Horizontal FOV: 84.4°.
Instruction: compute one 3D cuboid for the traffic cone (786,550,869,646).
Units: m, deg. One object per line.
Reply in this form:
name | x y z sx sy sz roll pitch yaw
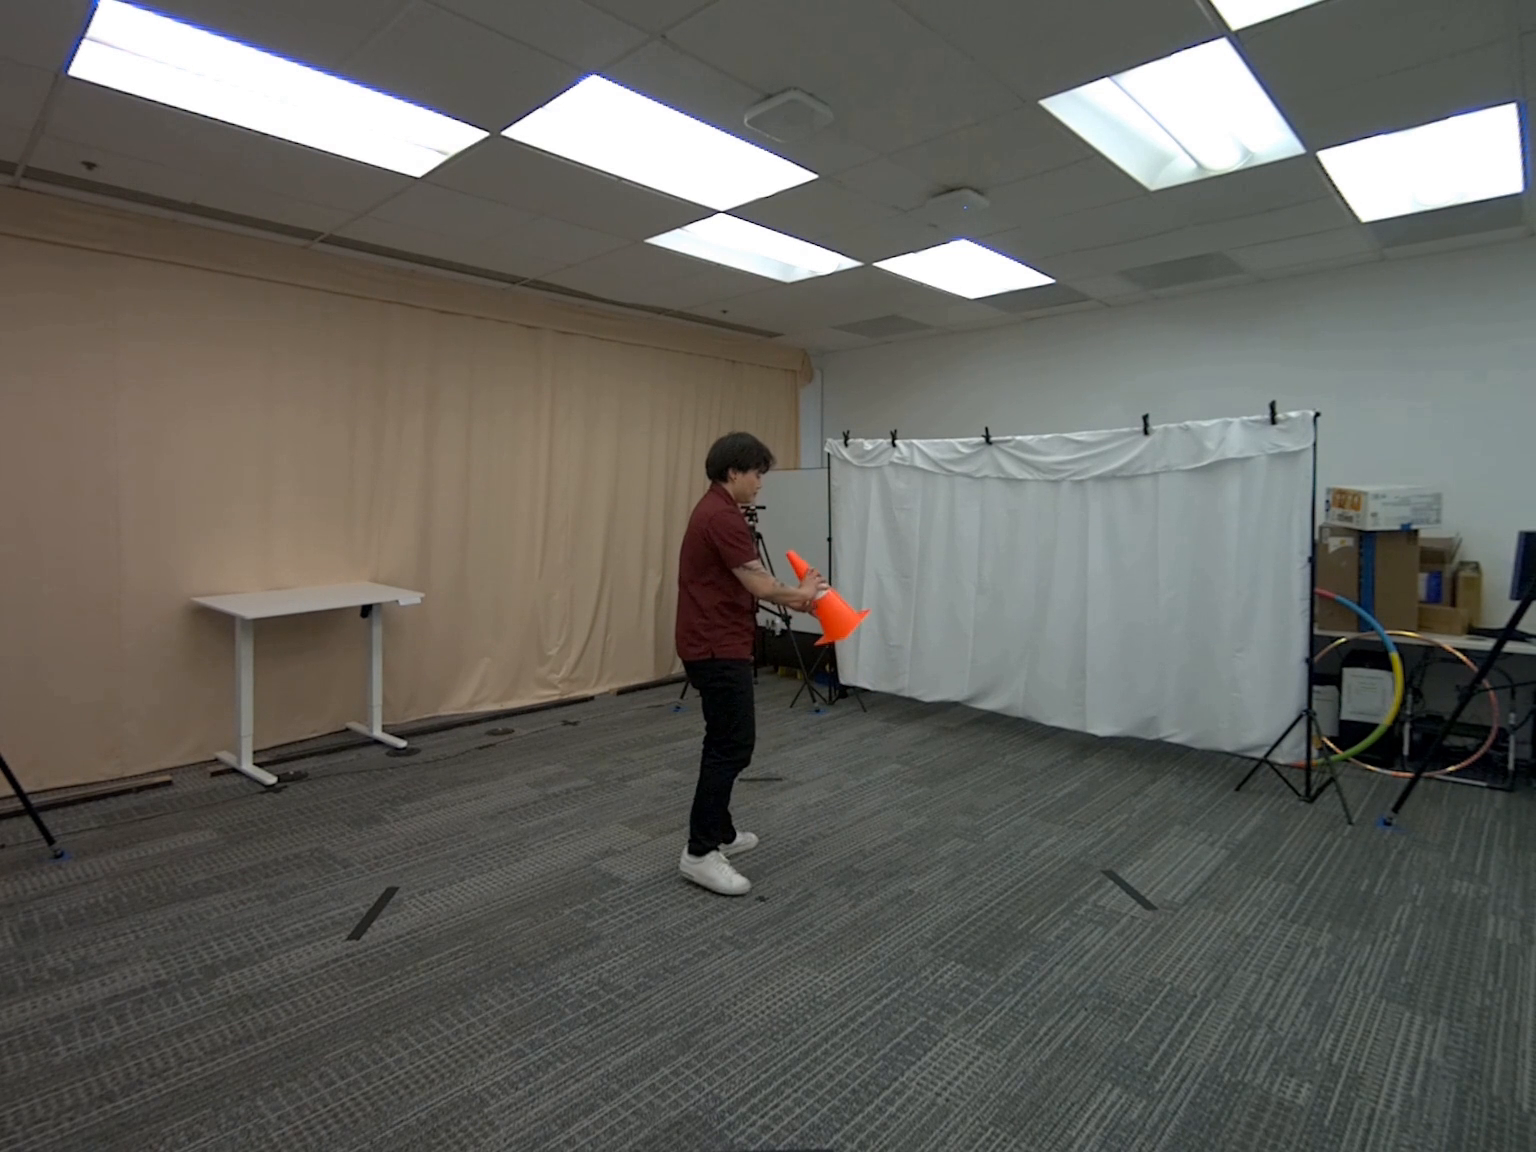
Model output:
traffic cone | 0.202 0.056 3.354 0.207 0.381 0.202 -27 11 49
